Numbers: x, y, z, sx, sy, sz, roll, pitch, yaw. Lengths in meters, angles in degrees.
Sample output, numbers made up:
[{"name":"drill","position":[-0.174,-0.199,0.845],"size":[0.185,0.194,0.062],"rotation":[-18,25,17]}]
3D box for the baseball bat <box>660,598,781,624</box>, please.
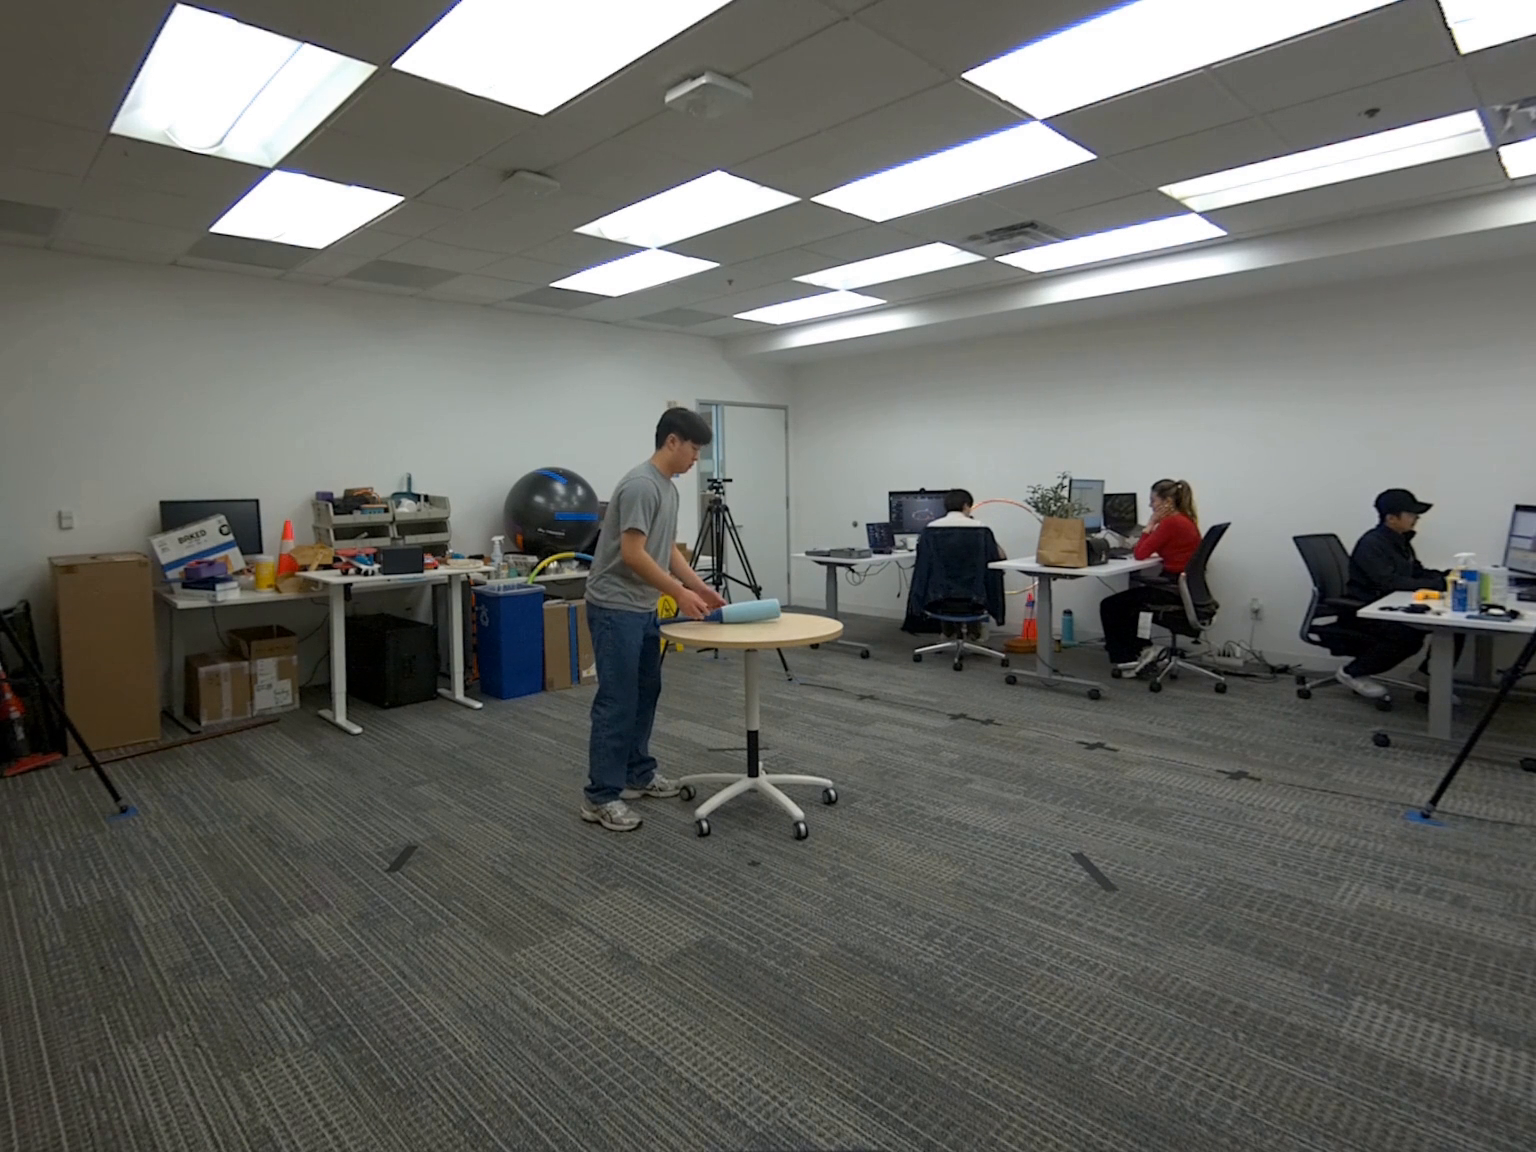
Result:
[{"name":"baseball bat","position":[-0.222,0.170,3.641],"size":[0.540,0.088,0.090],"rotation":[-7,6,-6]}]
